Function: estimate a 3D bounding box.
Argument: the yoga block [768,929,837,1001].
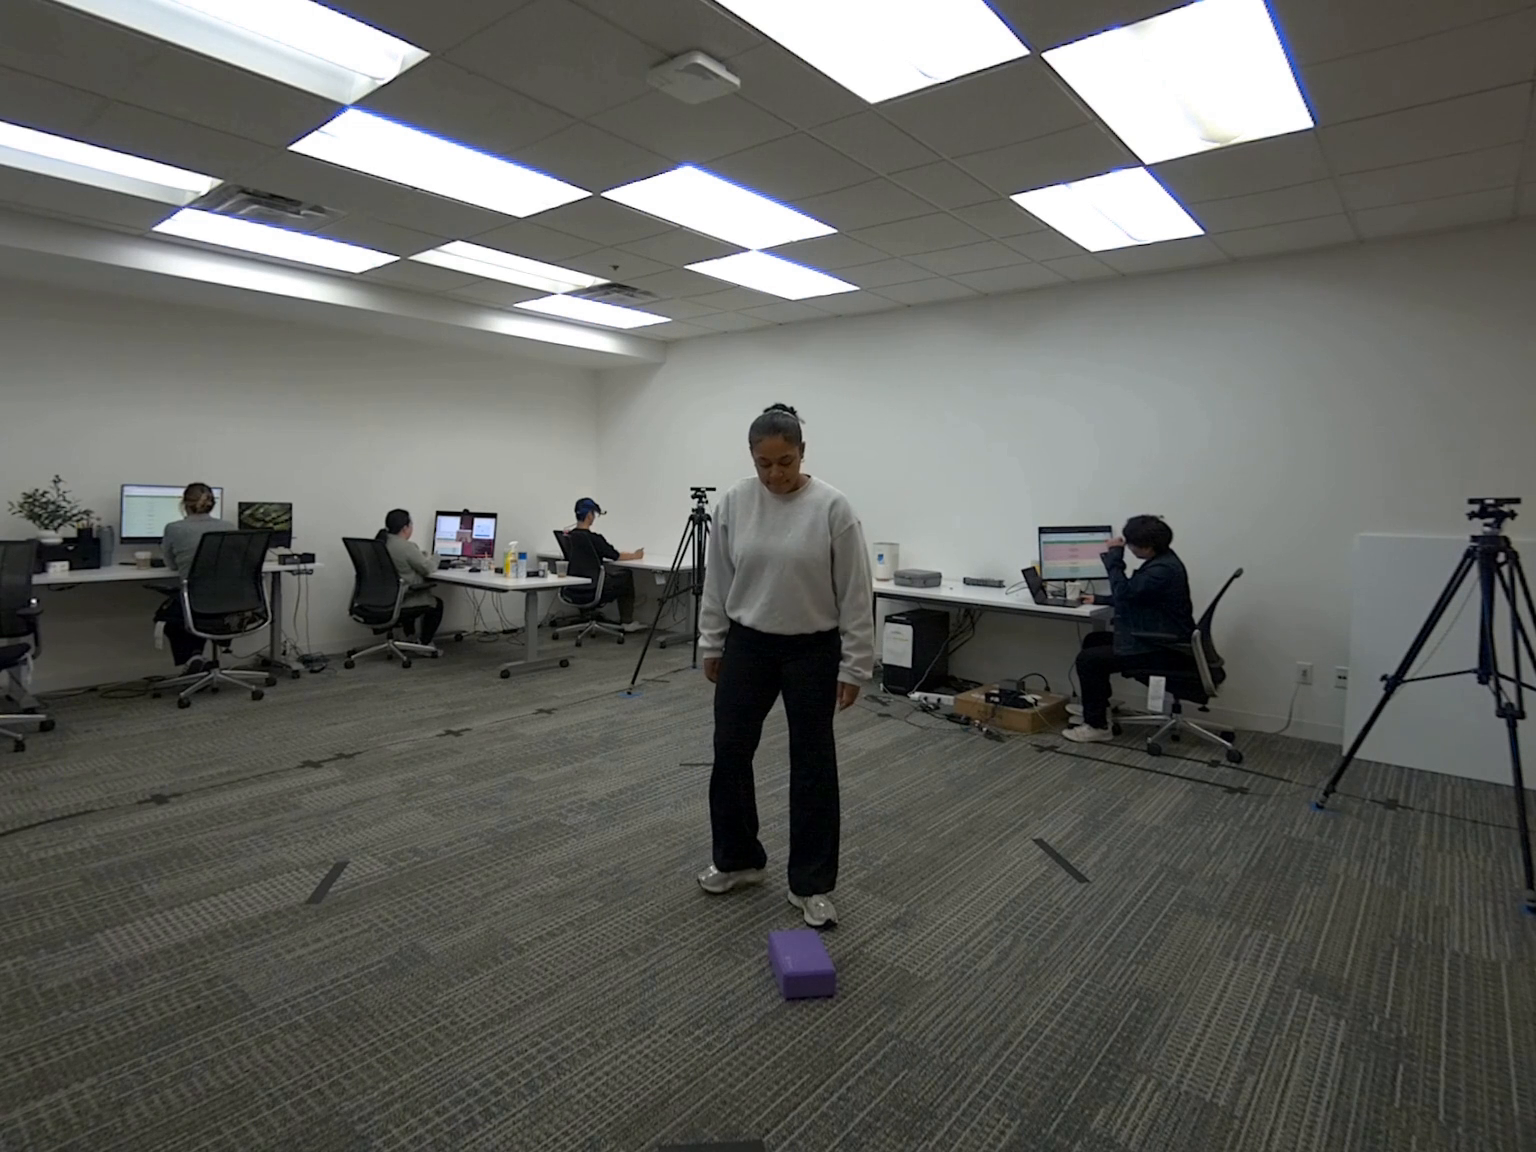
[{"bbox_3d":[0.086,1.100,2.430,0.147,0.076,0.232,0,6,-10],"label":"yoga block"}]
